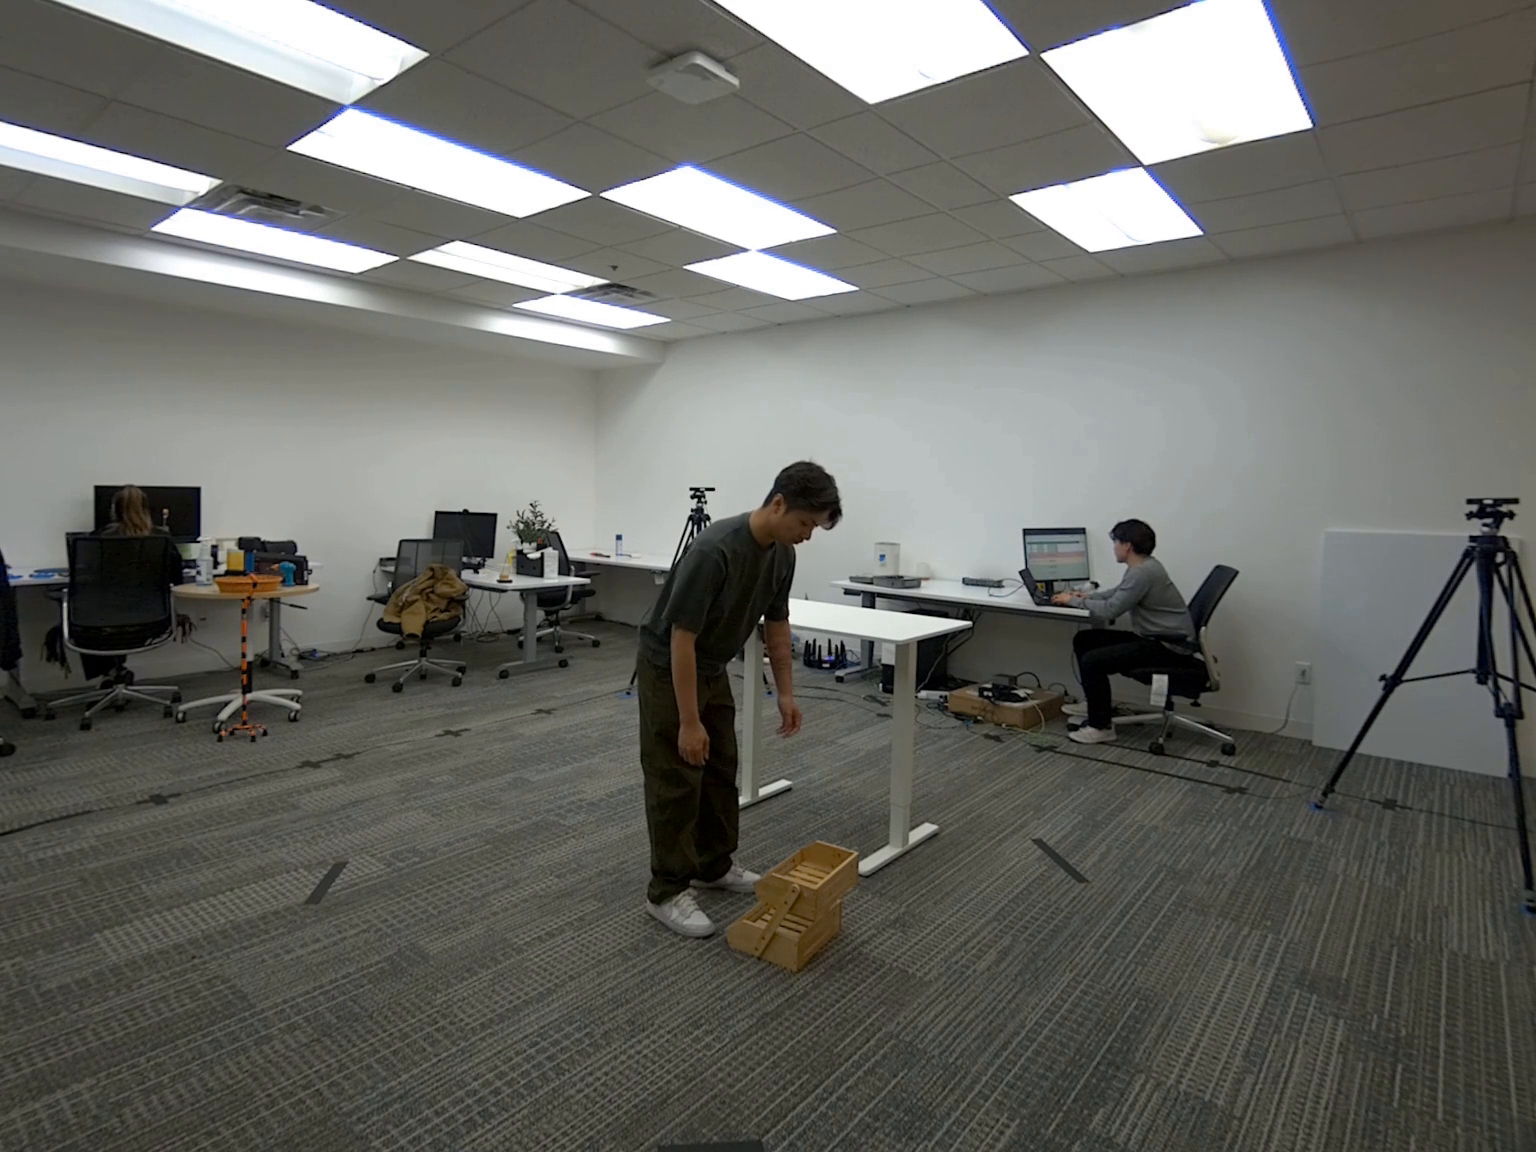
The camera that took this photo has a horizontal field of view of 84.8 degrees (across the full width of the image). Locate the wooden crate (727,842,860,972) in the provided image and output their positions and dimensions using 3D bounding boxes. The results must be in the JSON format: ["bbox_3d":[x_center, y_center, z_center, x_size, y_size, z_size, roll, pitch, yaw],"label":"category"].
[{"bbox_3d":[0.067,0.985,2.623,0.311,0.272,0.316,5,6,31],"label":"wooden crate"}]
